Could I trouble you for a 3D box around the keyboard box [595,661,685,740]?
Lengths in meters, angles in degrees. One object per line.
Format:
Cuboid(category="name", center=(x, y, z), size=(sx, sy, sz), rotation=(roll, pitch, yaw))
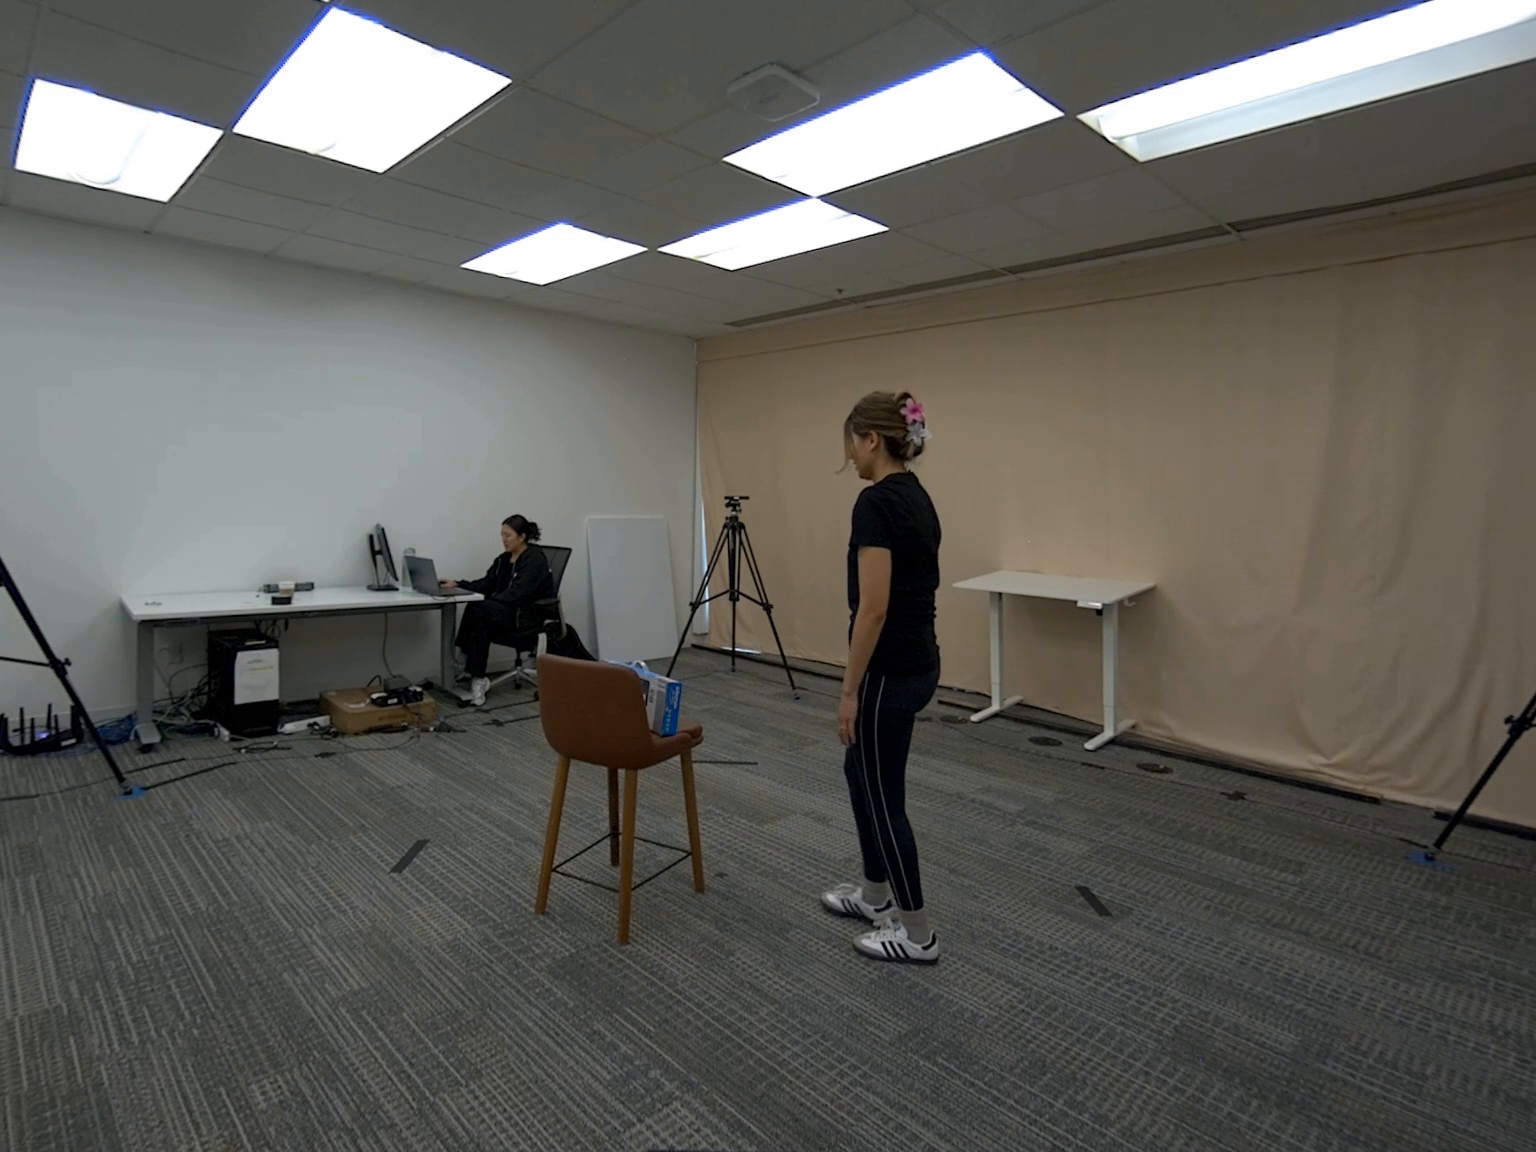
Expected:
Cuboid(category="keyboard box", center=(-0.449, 0.416, 2.904), size=(0.057, 0.176, 0.448), rotation=(7, 1, -41))
